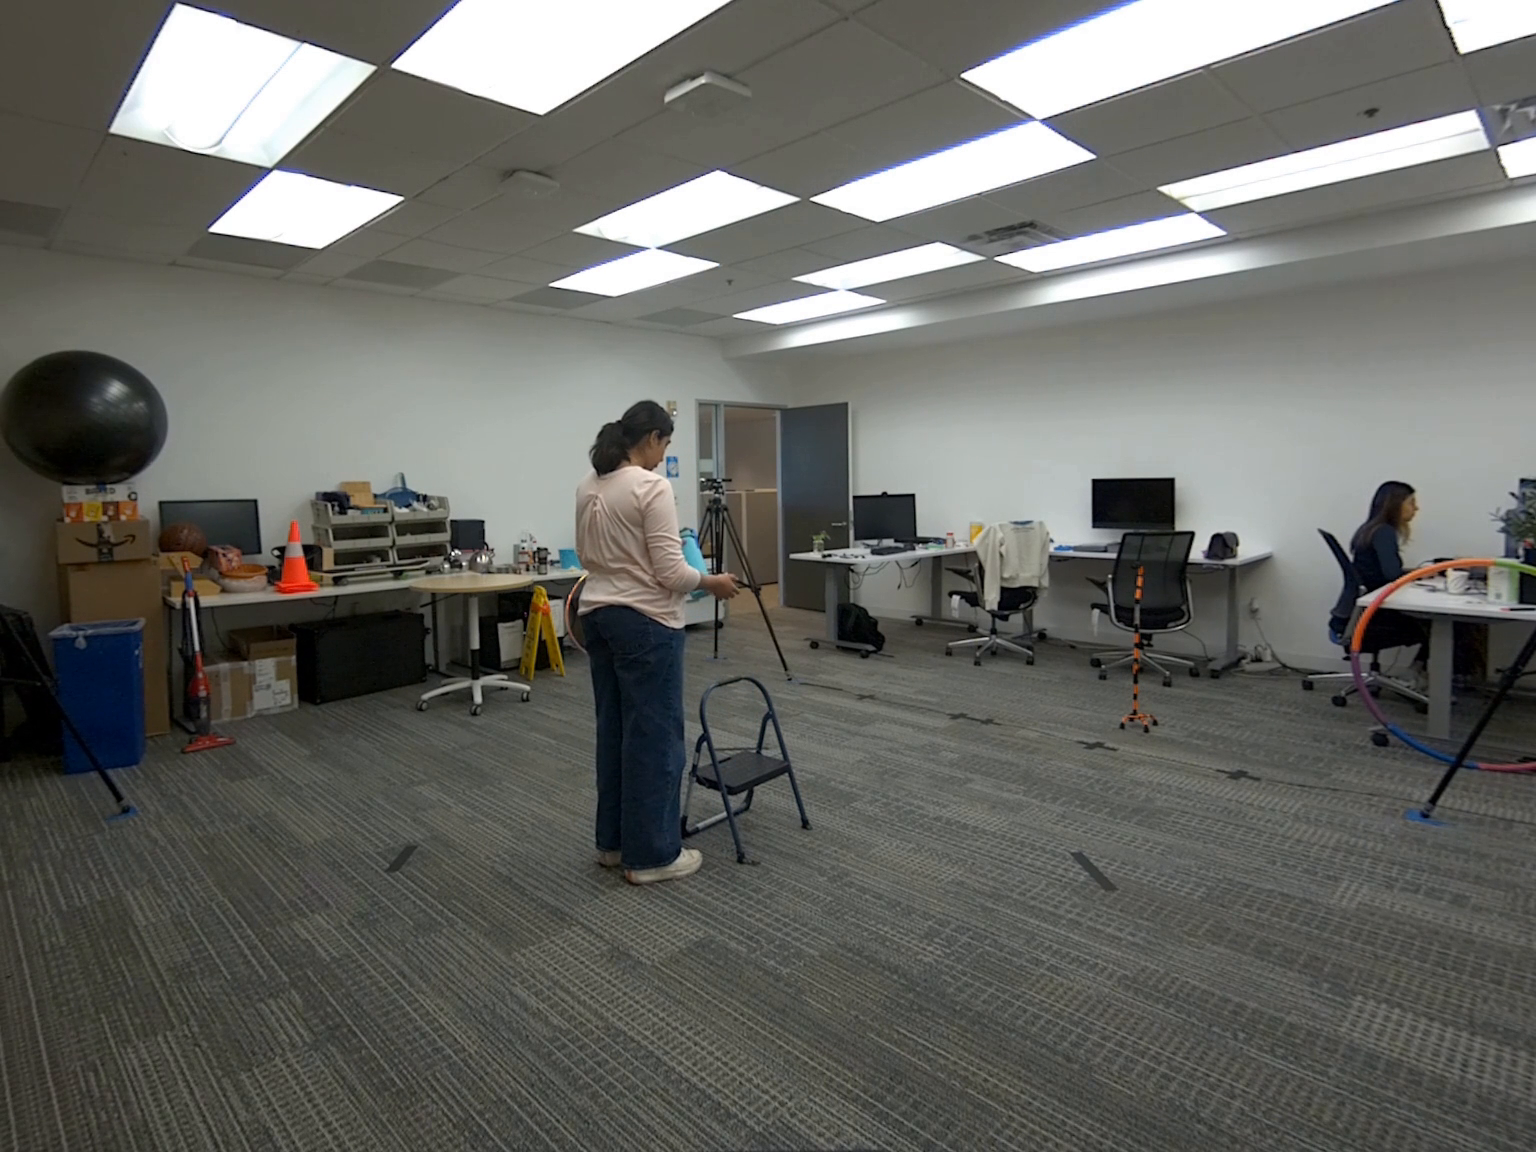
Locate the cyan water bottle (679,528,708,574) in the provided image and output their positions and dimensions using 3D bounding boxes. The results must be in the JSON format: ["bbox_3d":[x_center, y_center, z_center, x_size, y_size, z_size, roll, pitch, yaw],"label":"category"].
[{"bbox_3d":[-0.287,-0.058,3.284,0.092,0.290,0.090,-16,-21,-8],"label":"cyan water bottle"}]
